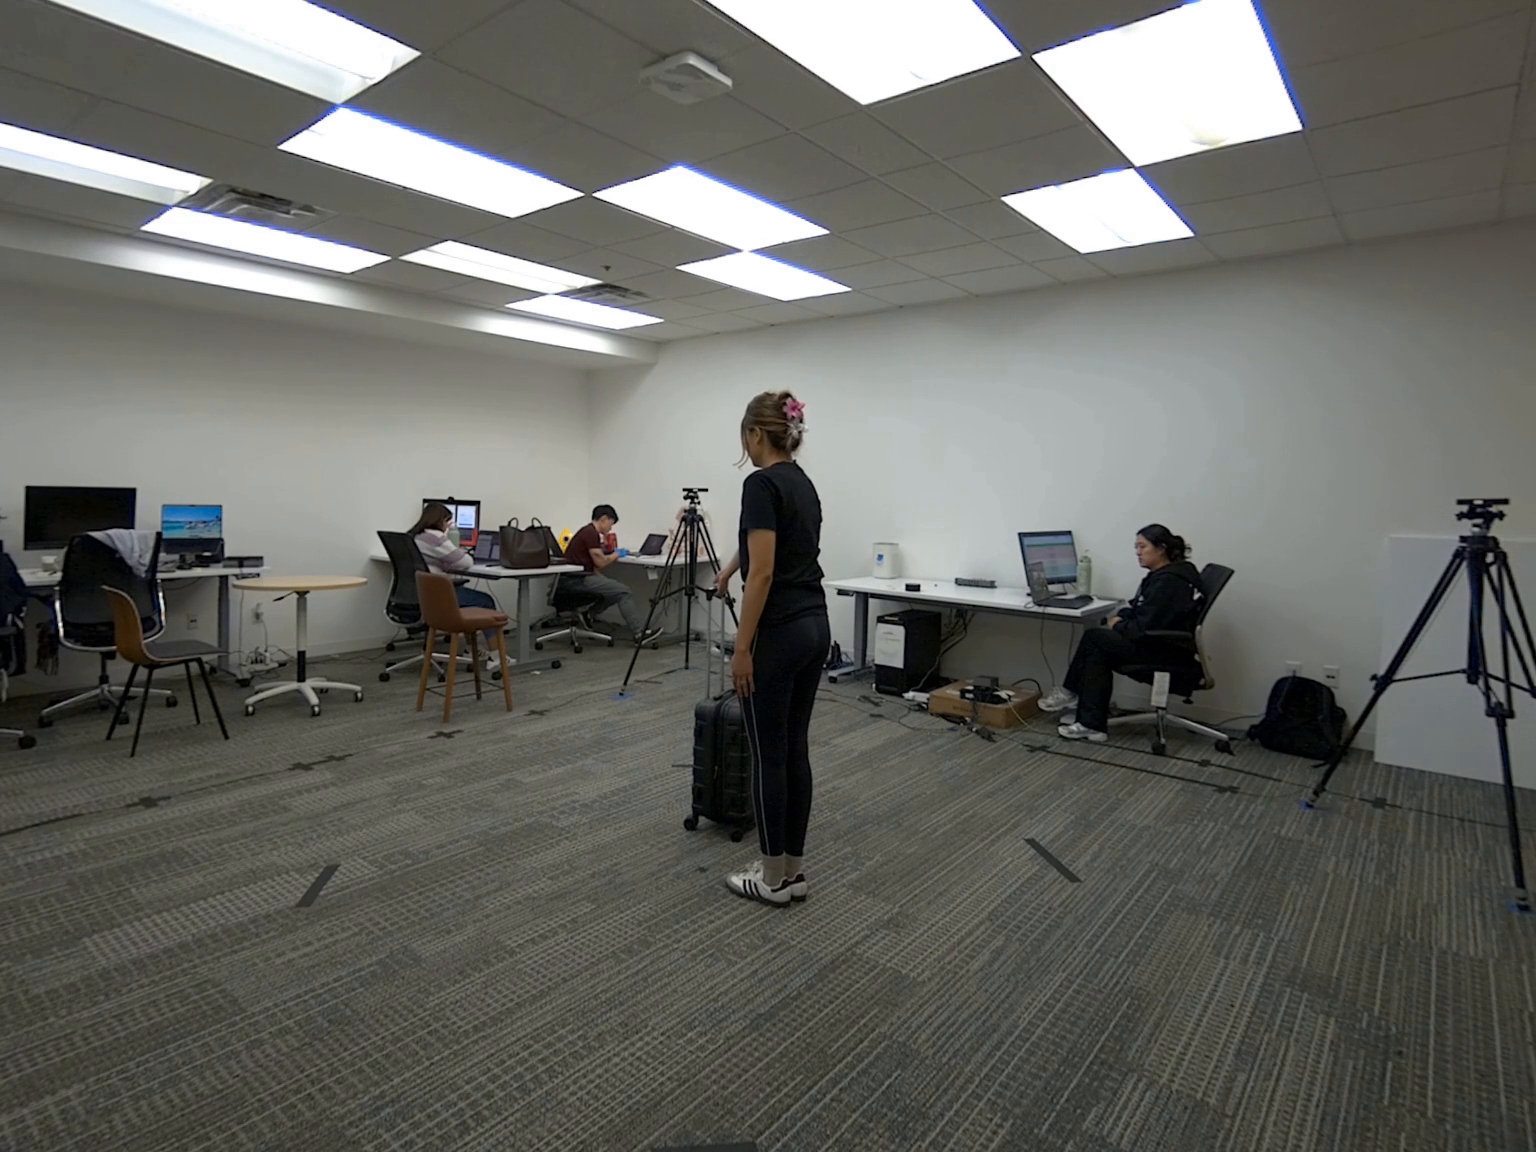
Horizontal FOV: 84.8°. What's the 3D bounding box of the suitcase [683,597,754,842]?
[{"bbox_3d":[-0.140,0.555,3.541,0.264,0.976,0.375,4,3,24],"label":"suitcase"}]
